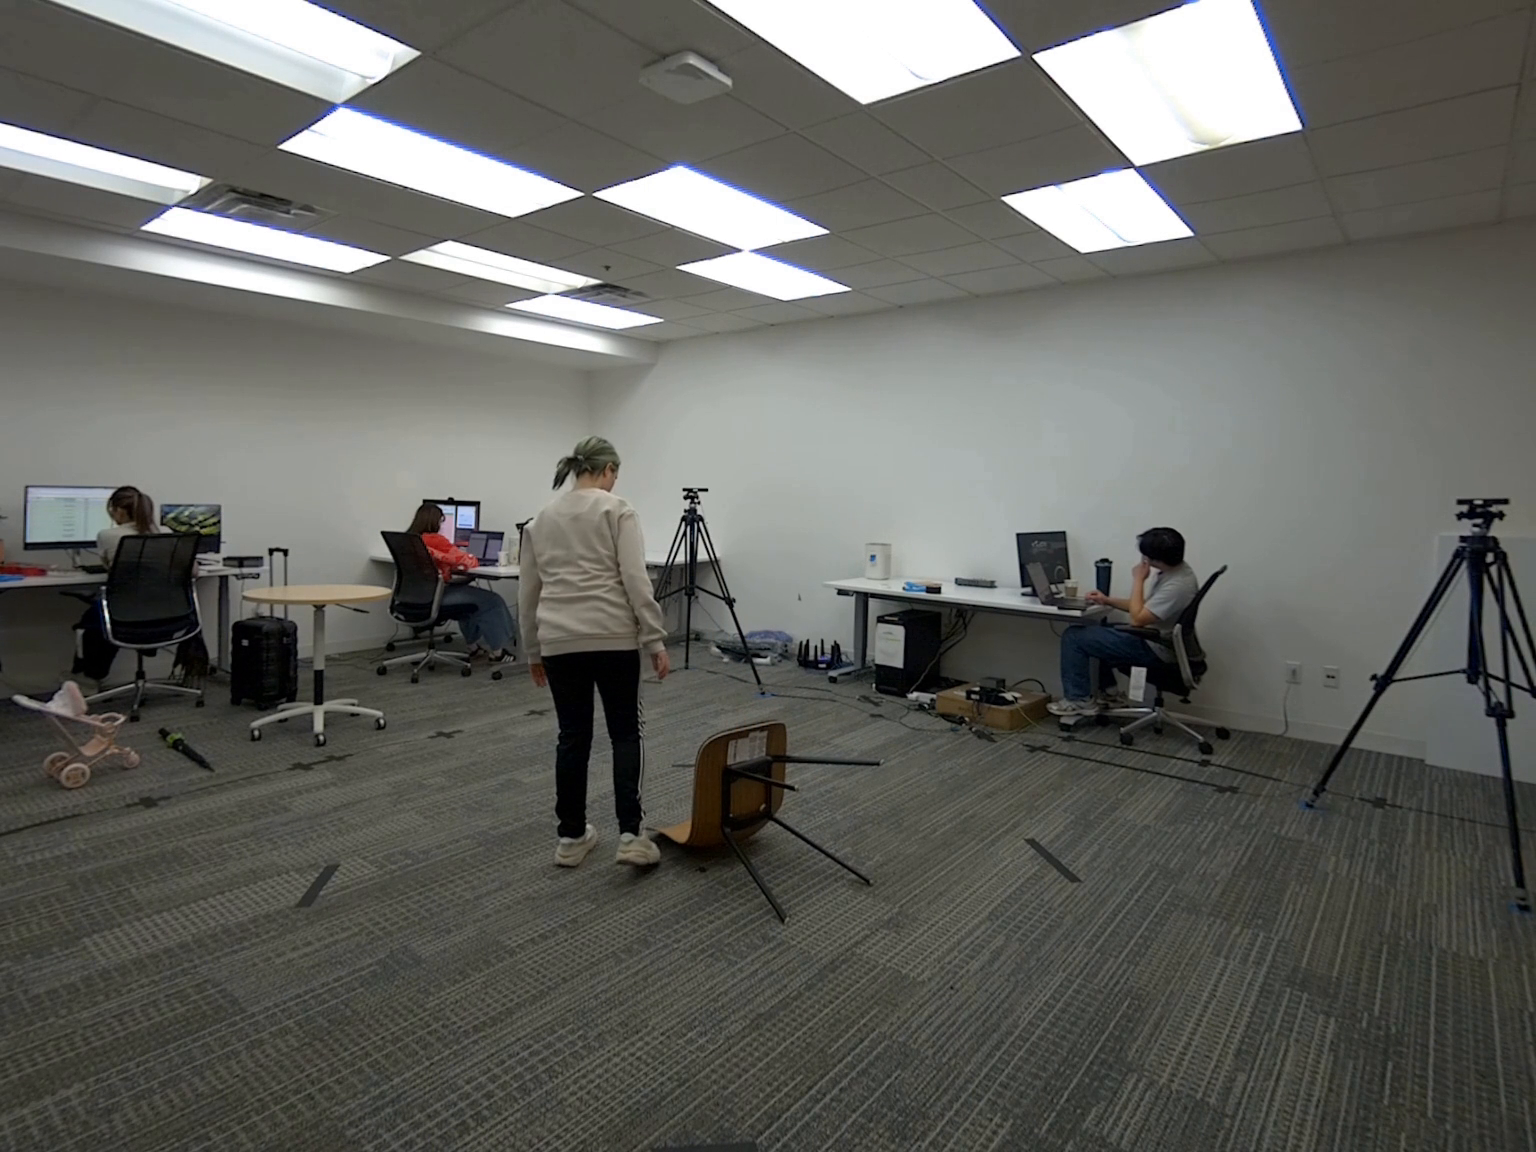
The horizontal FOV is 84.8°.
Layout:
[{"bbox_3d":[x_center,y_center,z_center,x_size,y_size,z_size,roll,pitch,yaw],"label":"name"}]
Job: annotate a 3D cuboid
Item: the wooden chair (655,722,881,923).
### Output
[{"bbox_3d":[-0.083,0.809,3.162,0.463,0.522,0.907,-2,4,-44],"label":"wooden chair"}]
